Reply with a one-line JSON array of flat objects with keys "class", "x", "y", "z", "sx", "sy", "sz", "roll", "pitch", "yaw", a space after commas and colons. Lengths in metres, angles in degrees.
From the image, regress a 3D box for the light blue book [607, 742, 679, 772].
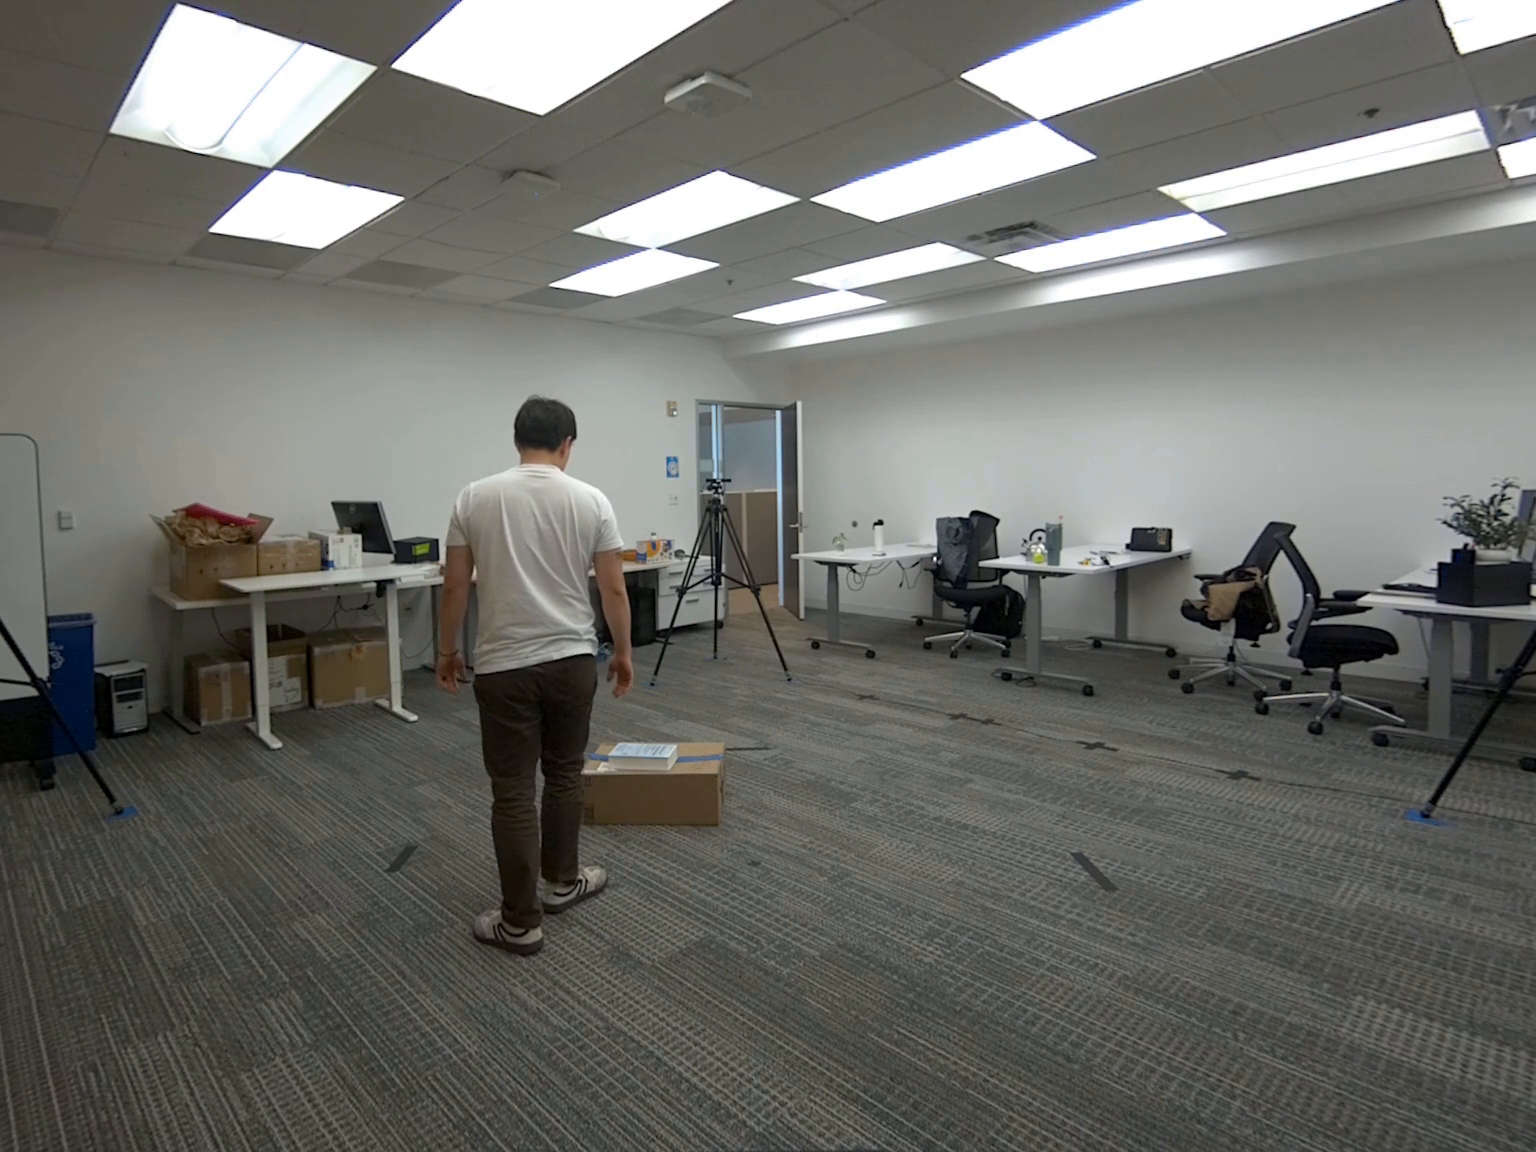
[{"class": "light blue book", "x": -0.525, "y": 0.762, "z": 3.614, "sx": 0.263, "sy": 0.059, "sz": 0.190, "roll": 0, "pitch": 5, "yaw": 8}]
